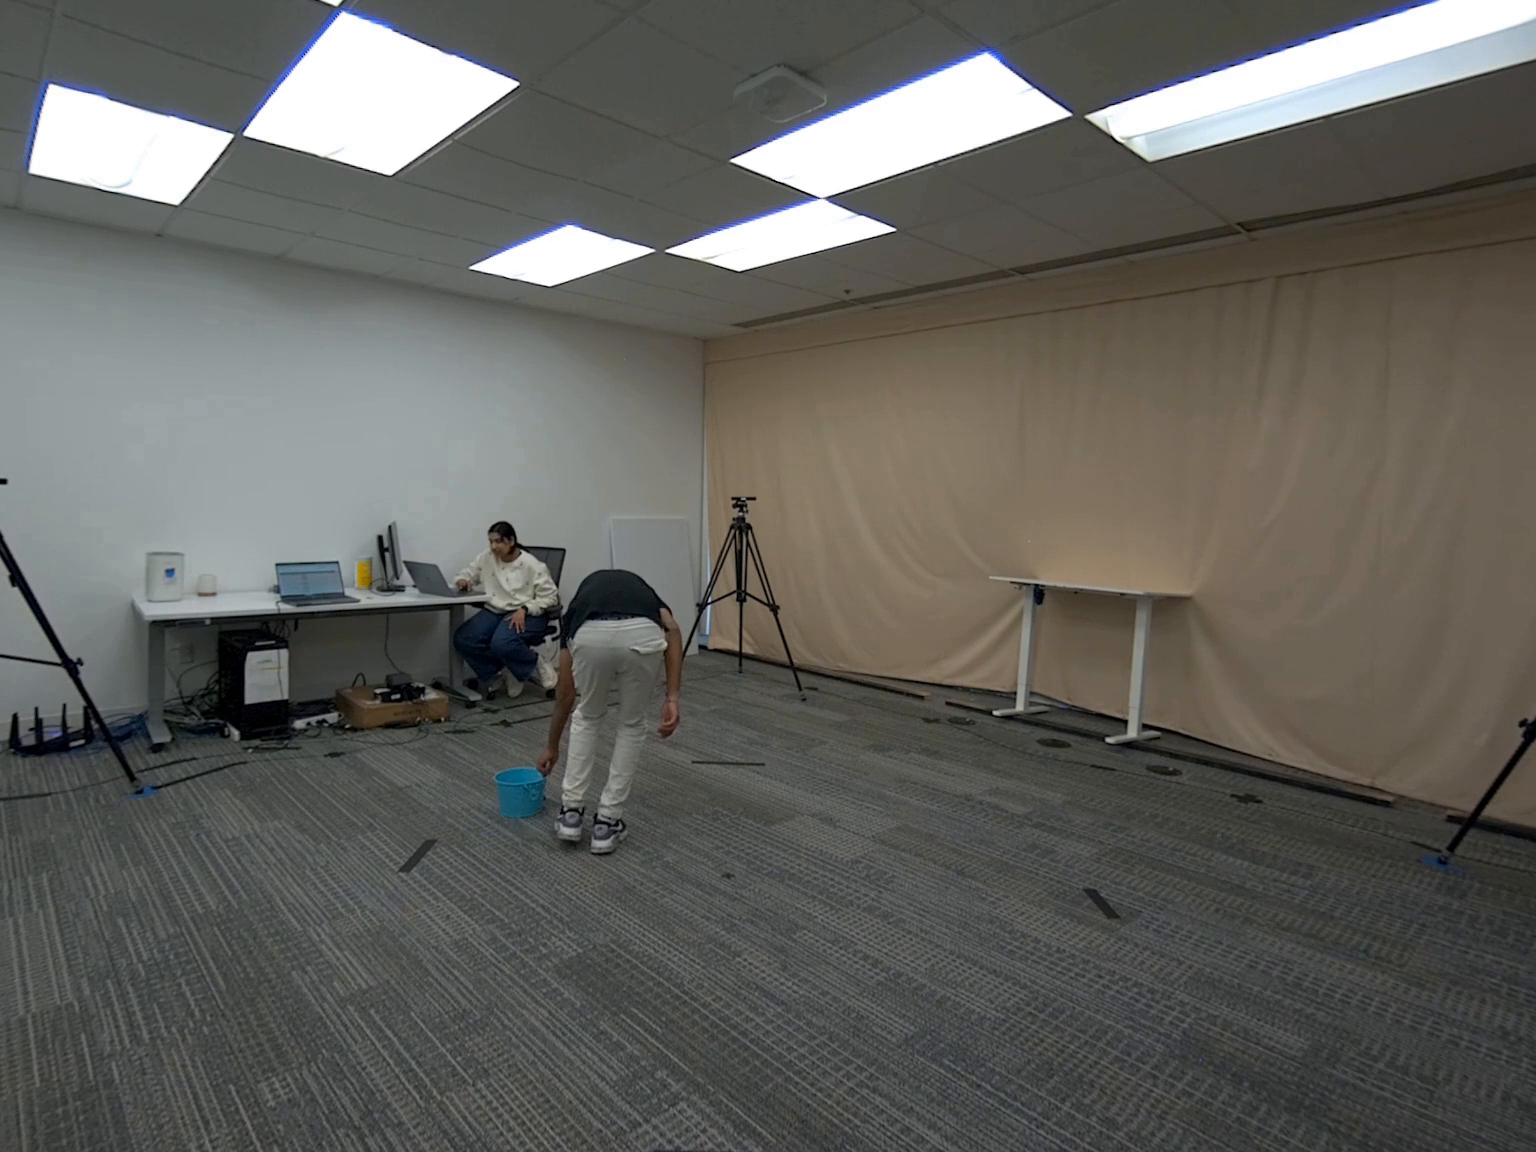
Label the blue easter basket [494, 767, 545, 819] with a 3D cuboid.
[{"bbox_3d":[-1.090,0.953,3.703,0.243,0.155,0.245,1,6,-1],"label":"blue easter basket"}]
